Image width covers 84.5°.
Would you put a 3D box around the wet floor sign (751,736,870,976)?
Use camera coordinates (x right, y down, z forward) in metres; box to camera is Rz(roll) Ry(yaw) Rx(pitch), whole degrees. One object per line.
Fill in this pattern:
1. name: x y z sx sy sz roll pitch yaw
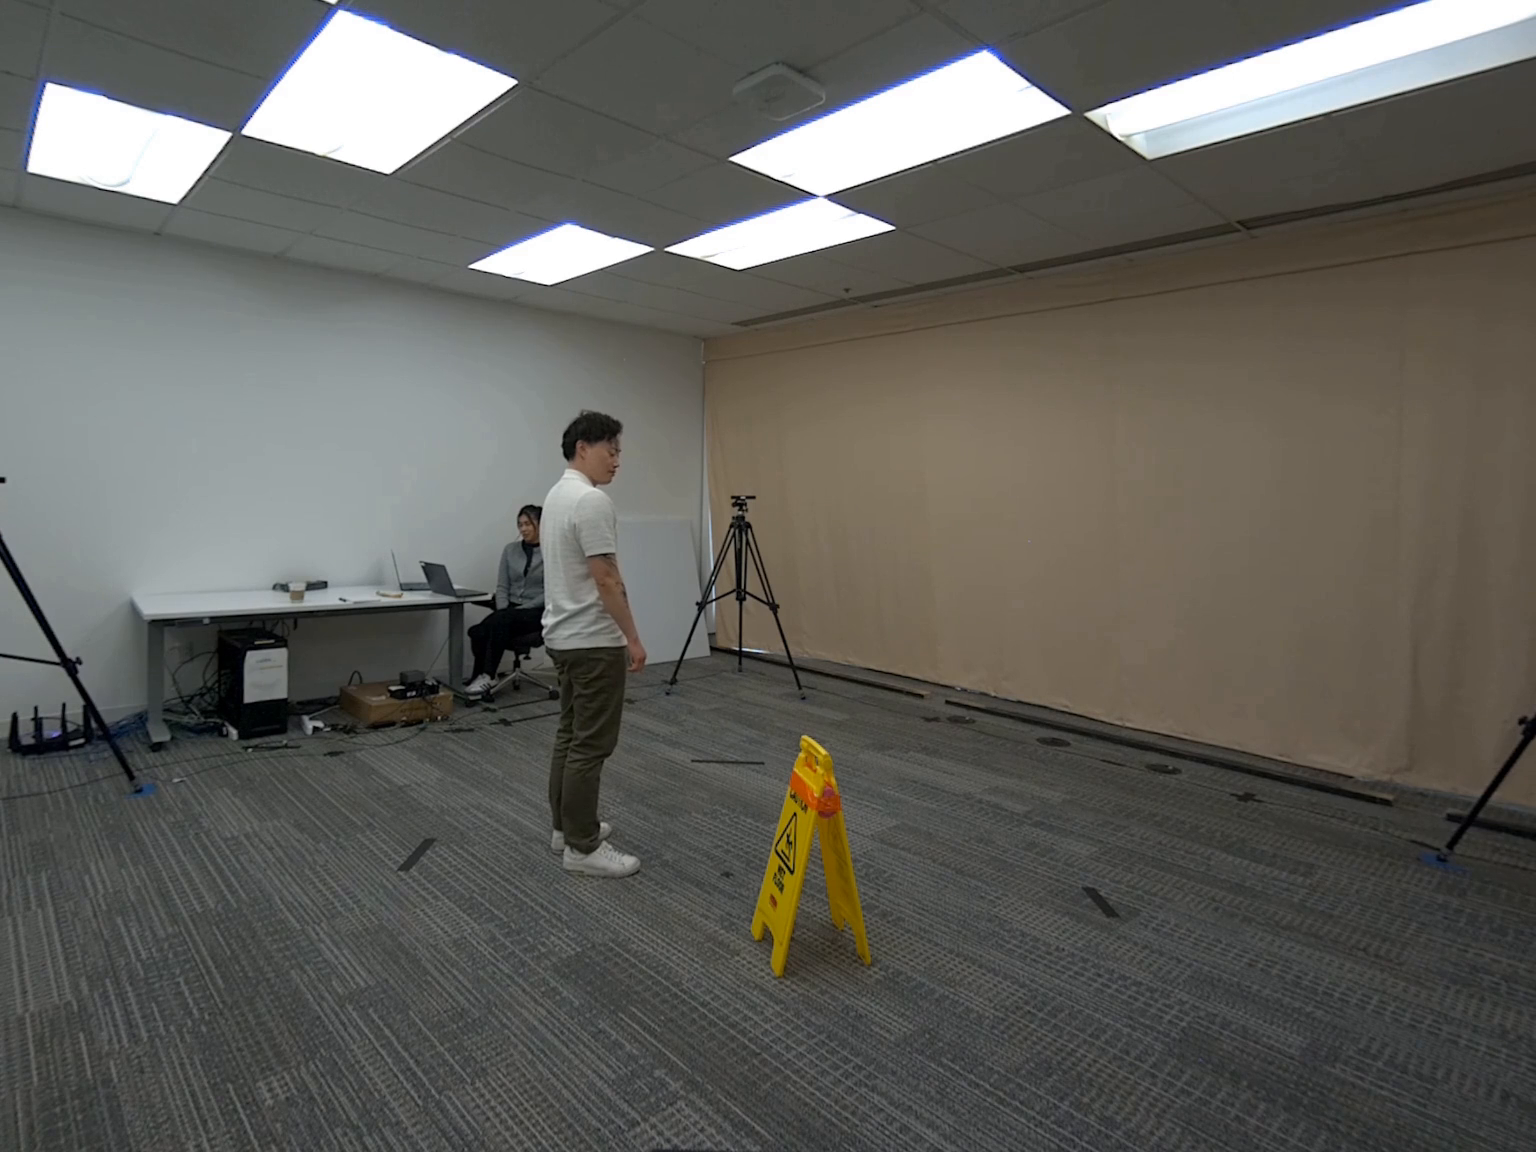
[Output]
1. wet floor sign: 0.135 0.832 2.592 0.286 0.644 0.287 1 4 -17
